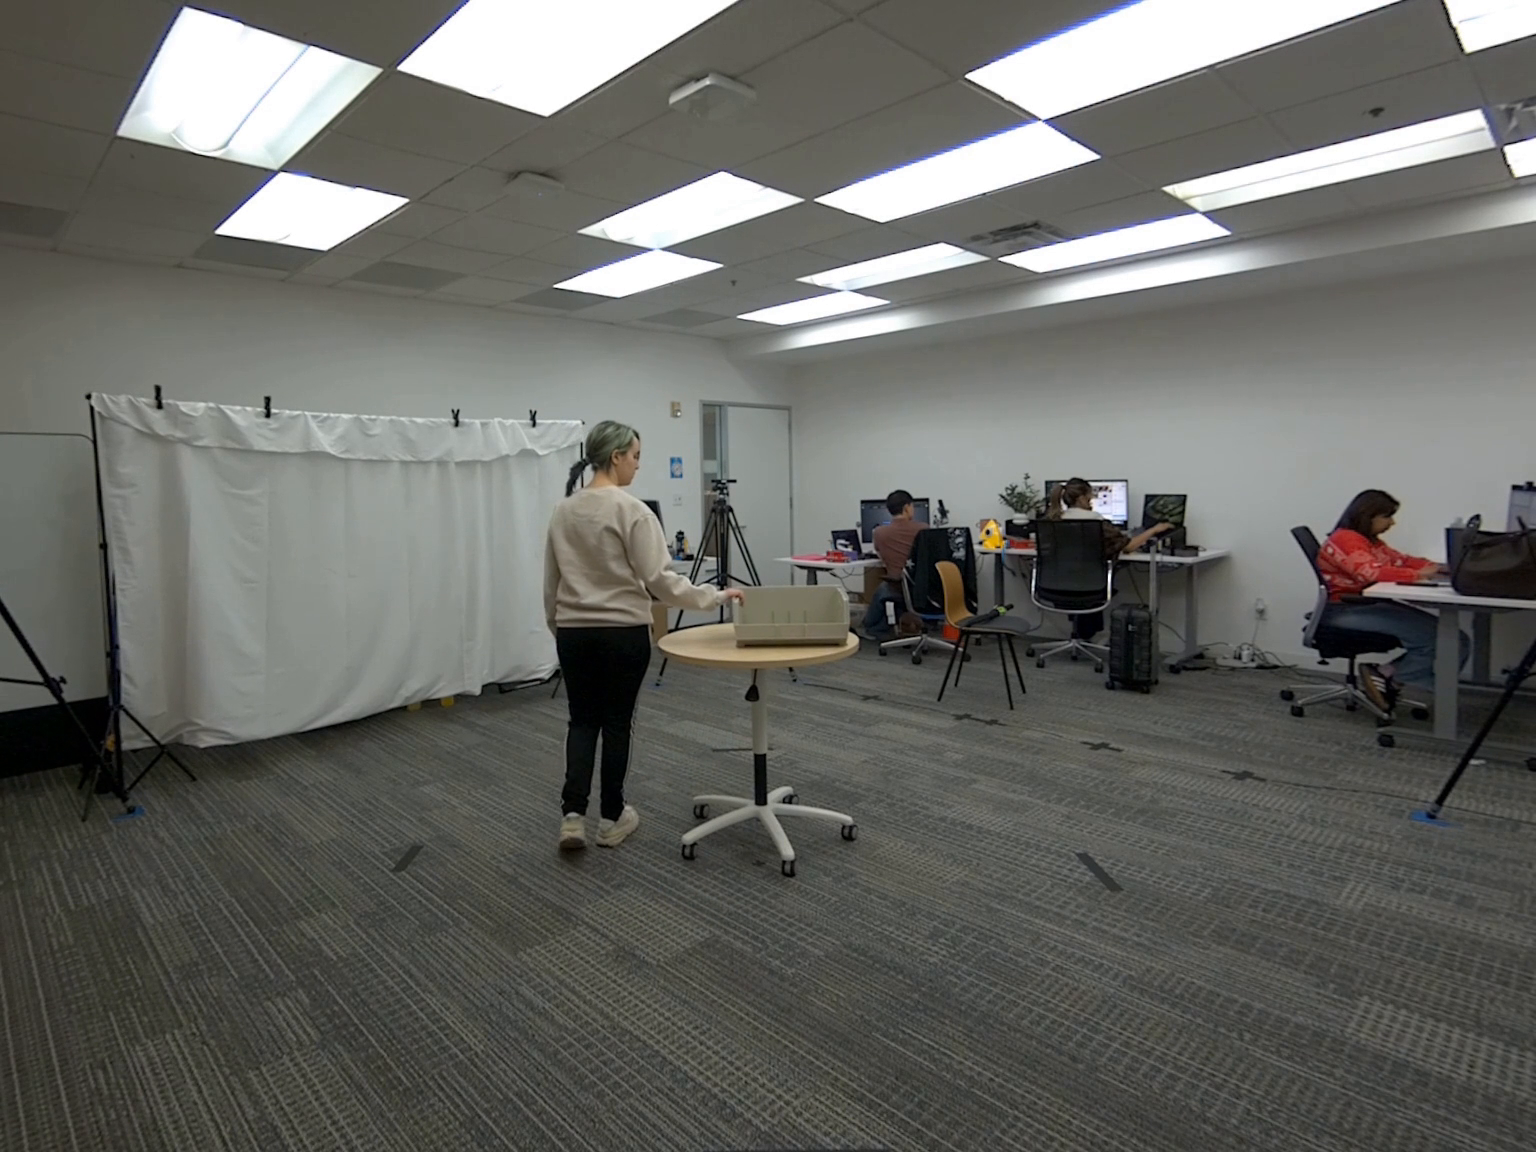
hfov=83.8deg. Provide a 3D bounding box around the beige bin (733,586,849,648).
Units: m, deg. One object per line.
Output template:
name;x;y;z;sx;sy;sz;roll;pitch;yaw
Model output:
beige bin;0.080;0.146;3.255;0.424;0.188;0.377;-1;4;3
